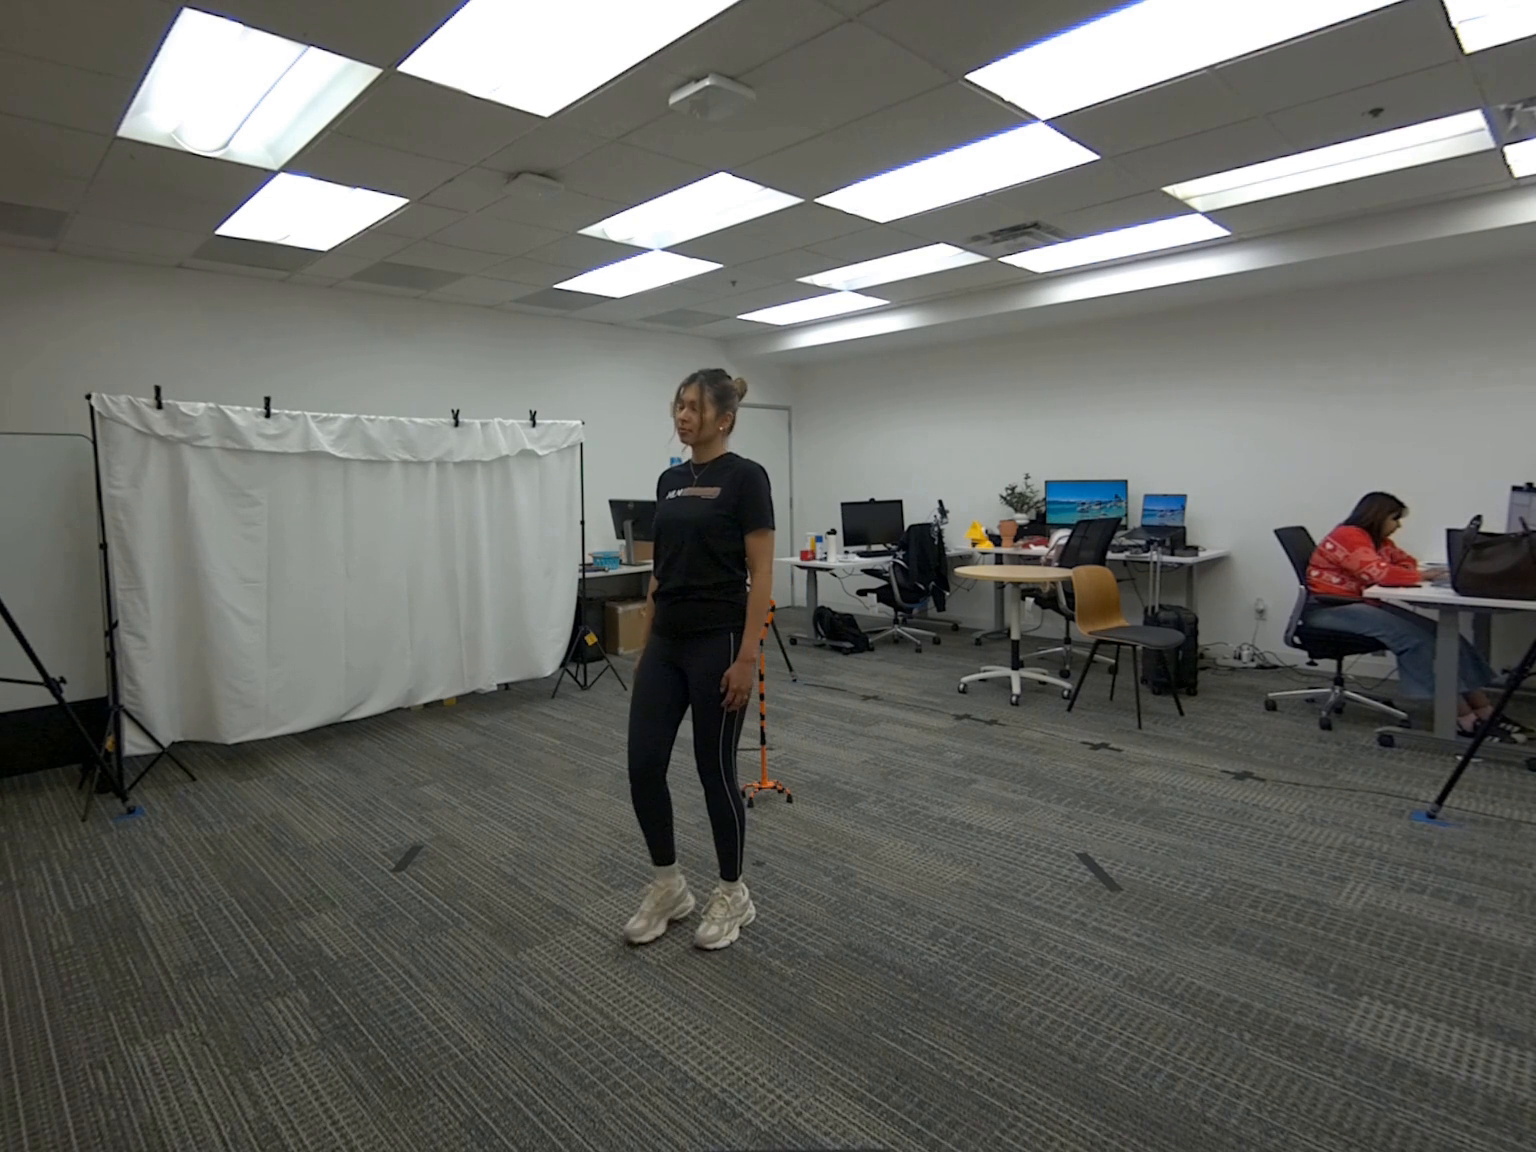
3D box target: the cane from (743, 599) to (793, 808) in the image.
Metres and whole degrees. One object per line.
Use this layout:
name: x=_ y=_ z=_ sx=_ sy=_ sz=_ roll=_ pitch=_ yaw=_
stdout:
cane: x=-0.018 y=0.527 z=3.714 sx=0.204 sy=0.905 sz=0.154 roll=-2 pitch=3 yaw=-14
